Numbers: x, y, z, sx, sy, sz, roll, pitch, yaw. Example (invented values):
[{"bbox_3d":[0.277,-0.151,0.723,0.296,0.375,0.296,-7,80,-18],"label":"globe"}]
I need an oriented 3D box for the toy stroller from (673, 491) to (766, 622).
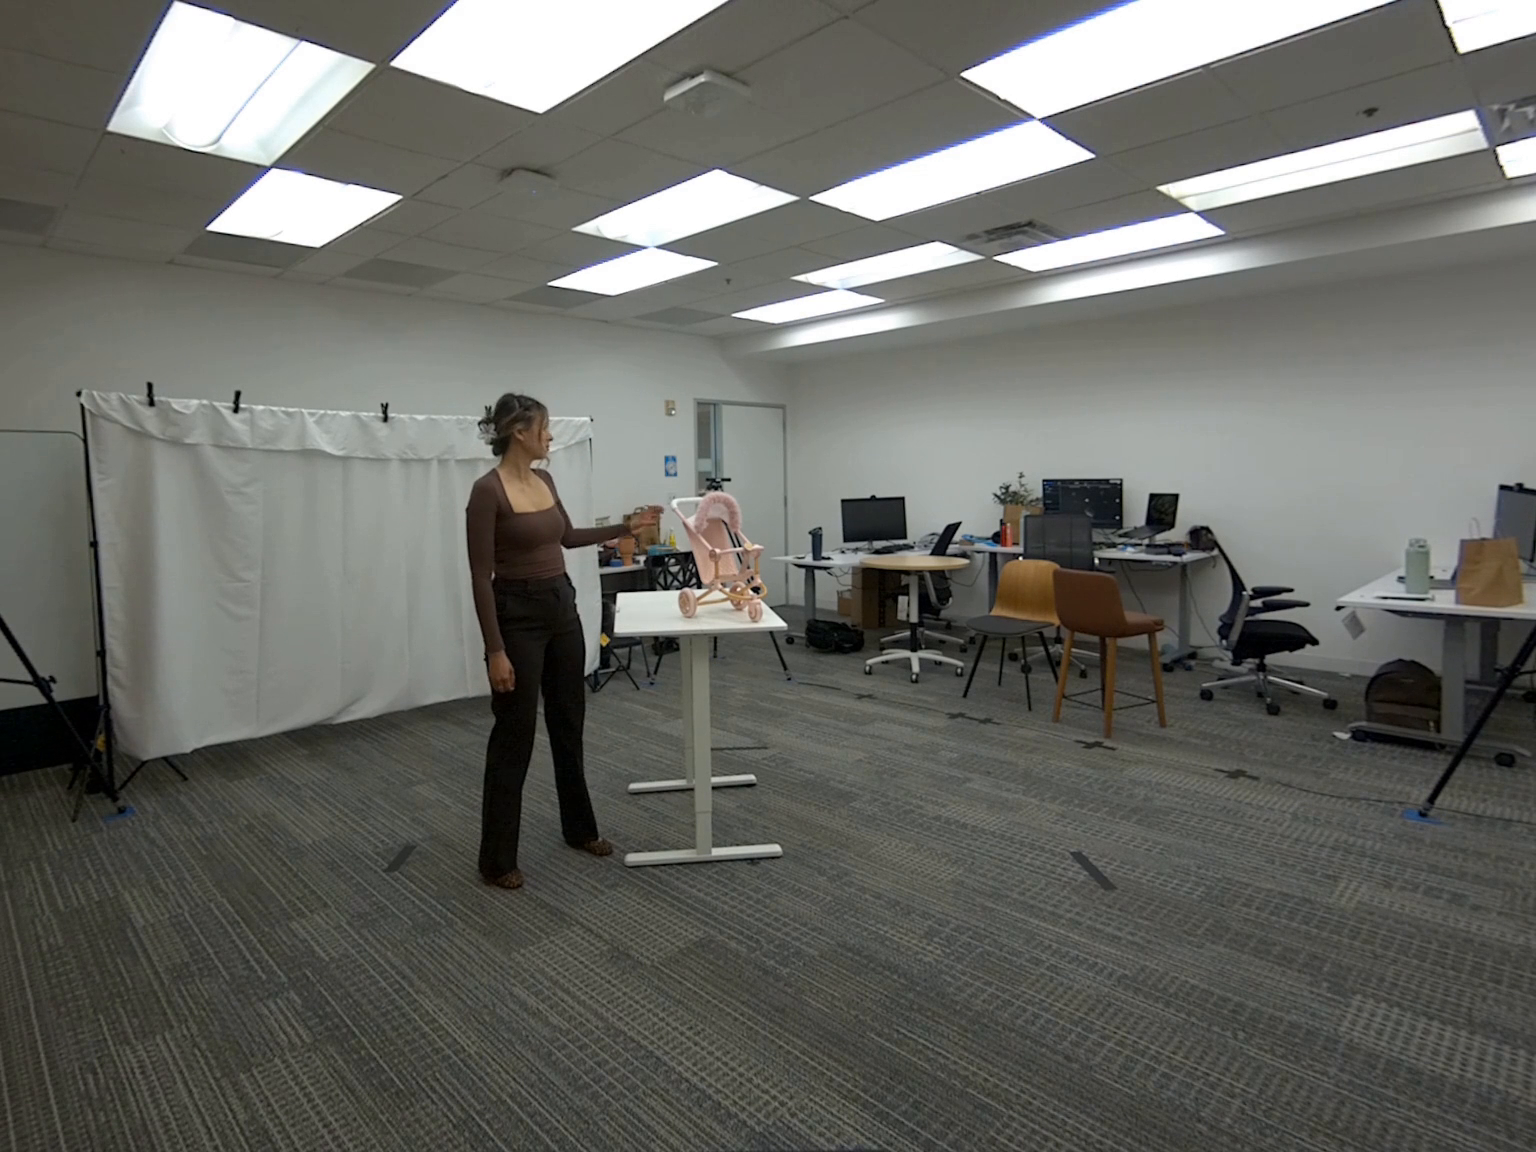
[{"bbox_3d":[-0.172,-0.076,3.204,0.274,0.540,0.347,-5,-9,-35],"label":"toy stroller"}]
